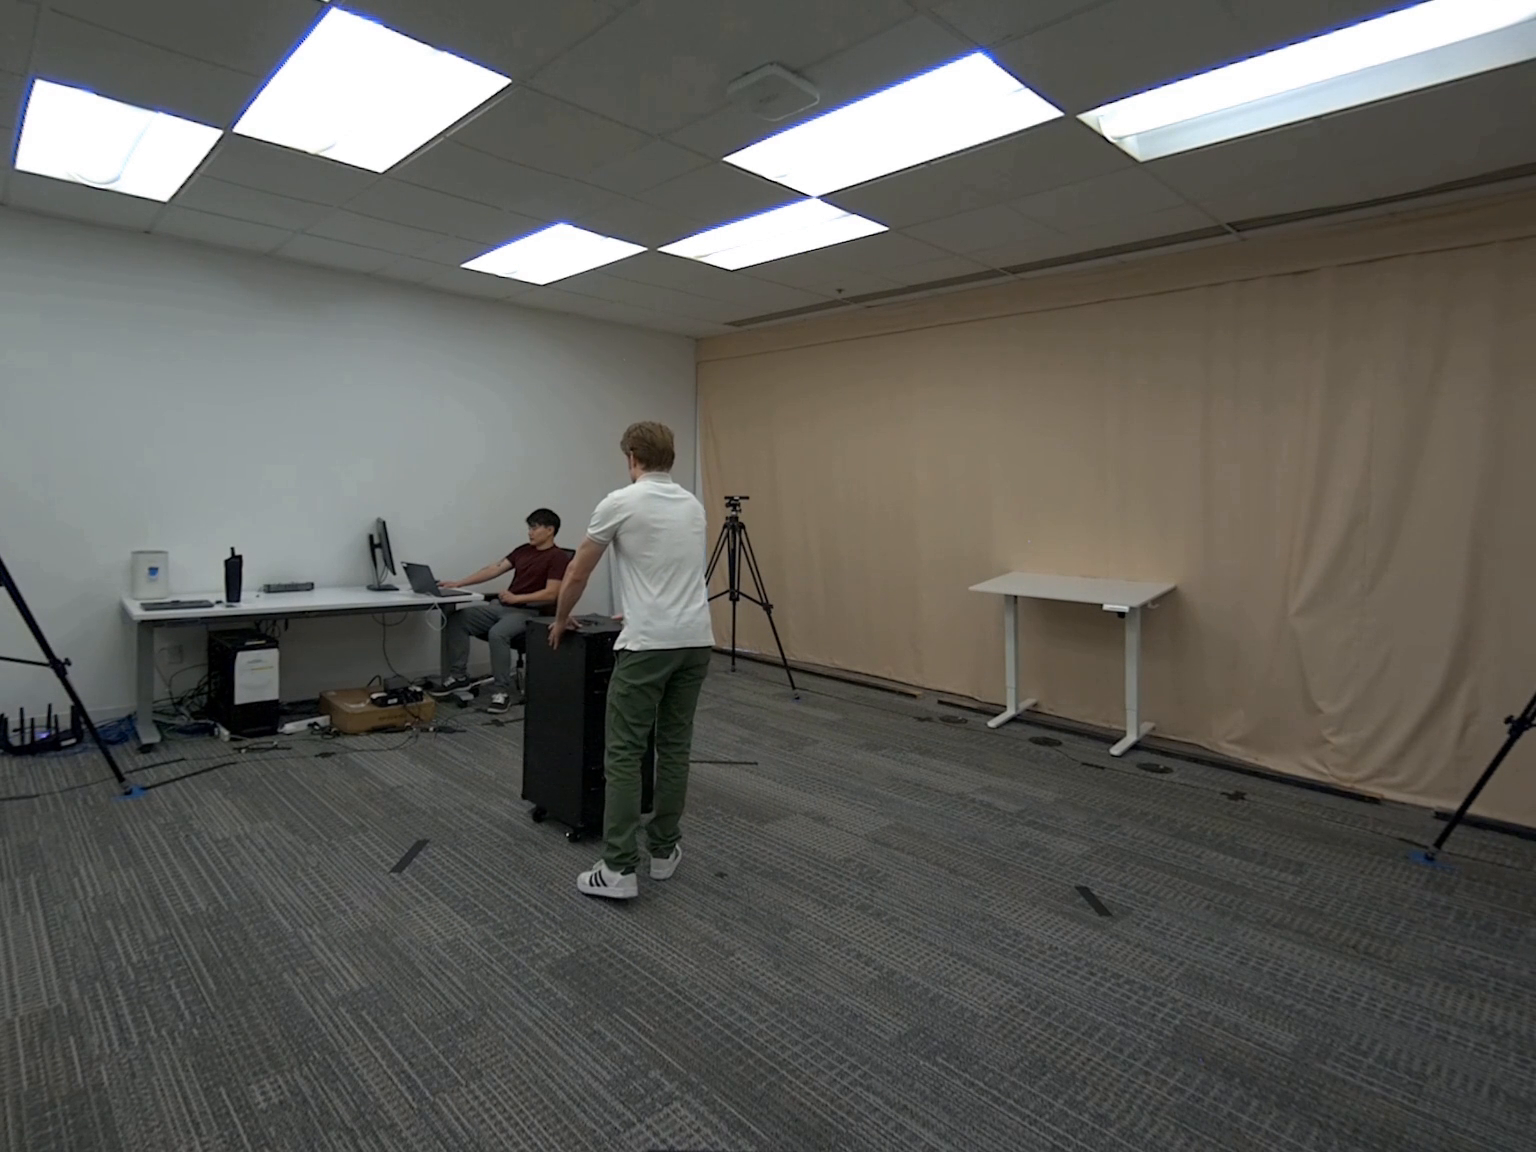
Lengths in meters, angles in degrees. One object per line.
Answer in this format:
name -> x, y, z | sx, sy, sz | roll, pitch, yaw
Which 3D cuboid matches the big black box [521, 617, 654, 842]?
big black box -> -0.775, 0.625, 3.586 | 0.376, 0.867, 0.537 | 0, 4, -44
